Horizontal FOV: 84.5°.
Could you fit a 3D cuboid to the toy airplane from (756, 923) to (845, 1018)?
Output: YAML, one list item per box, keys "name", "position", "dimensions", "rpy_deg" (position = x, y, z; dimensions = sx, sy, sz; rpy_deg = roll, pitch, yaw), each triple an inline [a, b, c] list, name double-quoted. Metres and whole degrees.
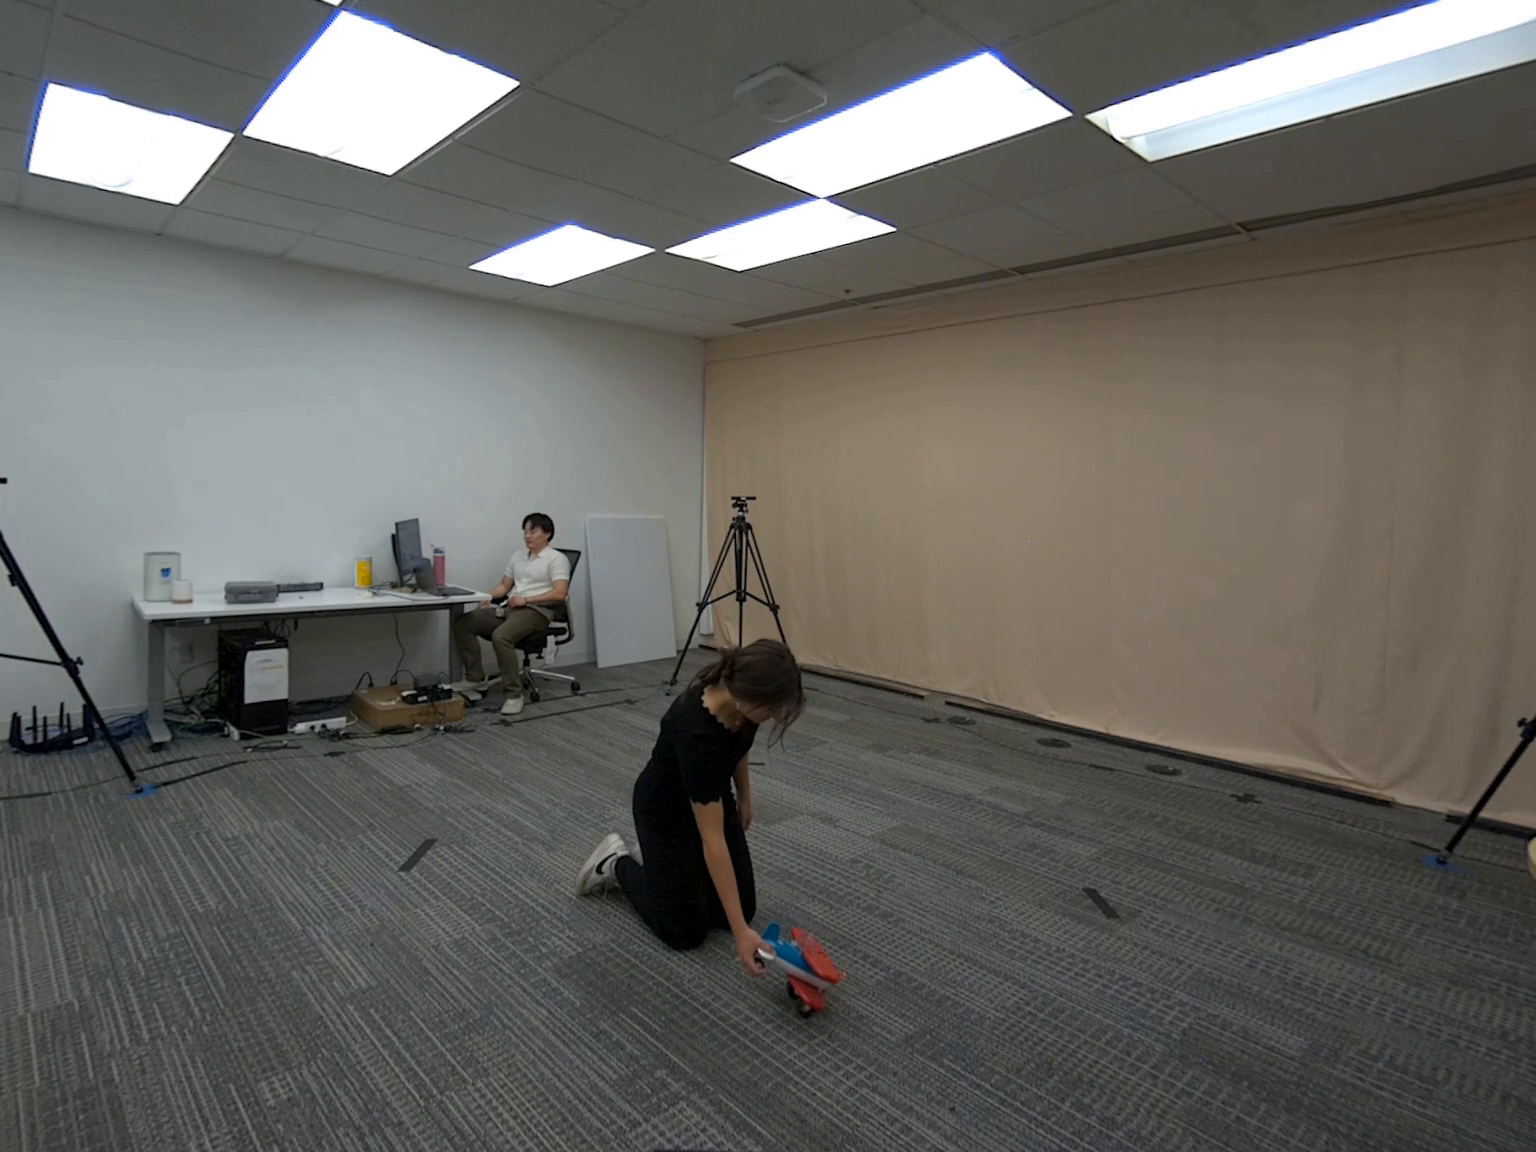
- name: "toy airplane"
  position: [0.069, 1.070, 2.287]
  dimensions: [0.259, 0.156, 0.251]
  rpy_deg: [35, -13, 45]
